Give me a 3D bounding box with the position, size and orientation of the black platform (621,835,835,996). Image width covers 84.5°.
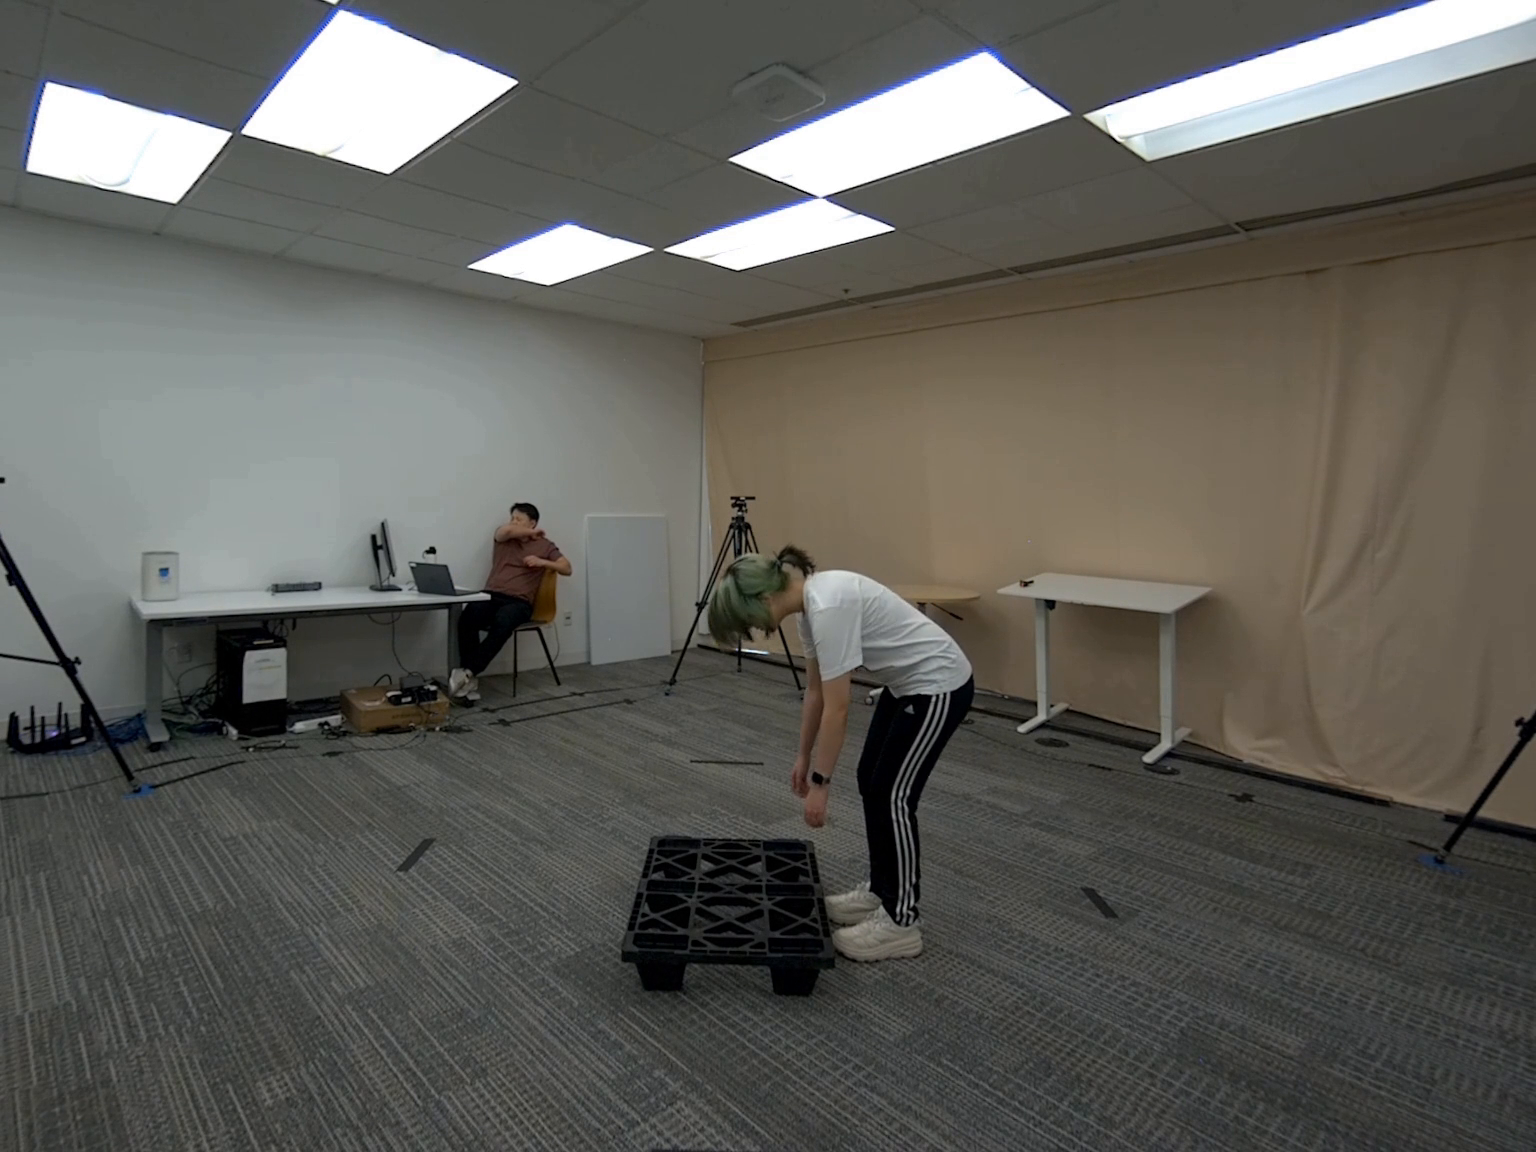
[{"bbox_3d":[-0.123,1.069,2.726,0.605,0.143,0.808,2,5,-1],"label":"black platform"}]
